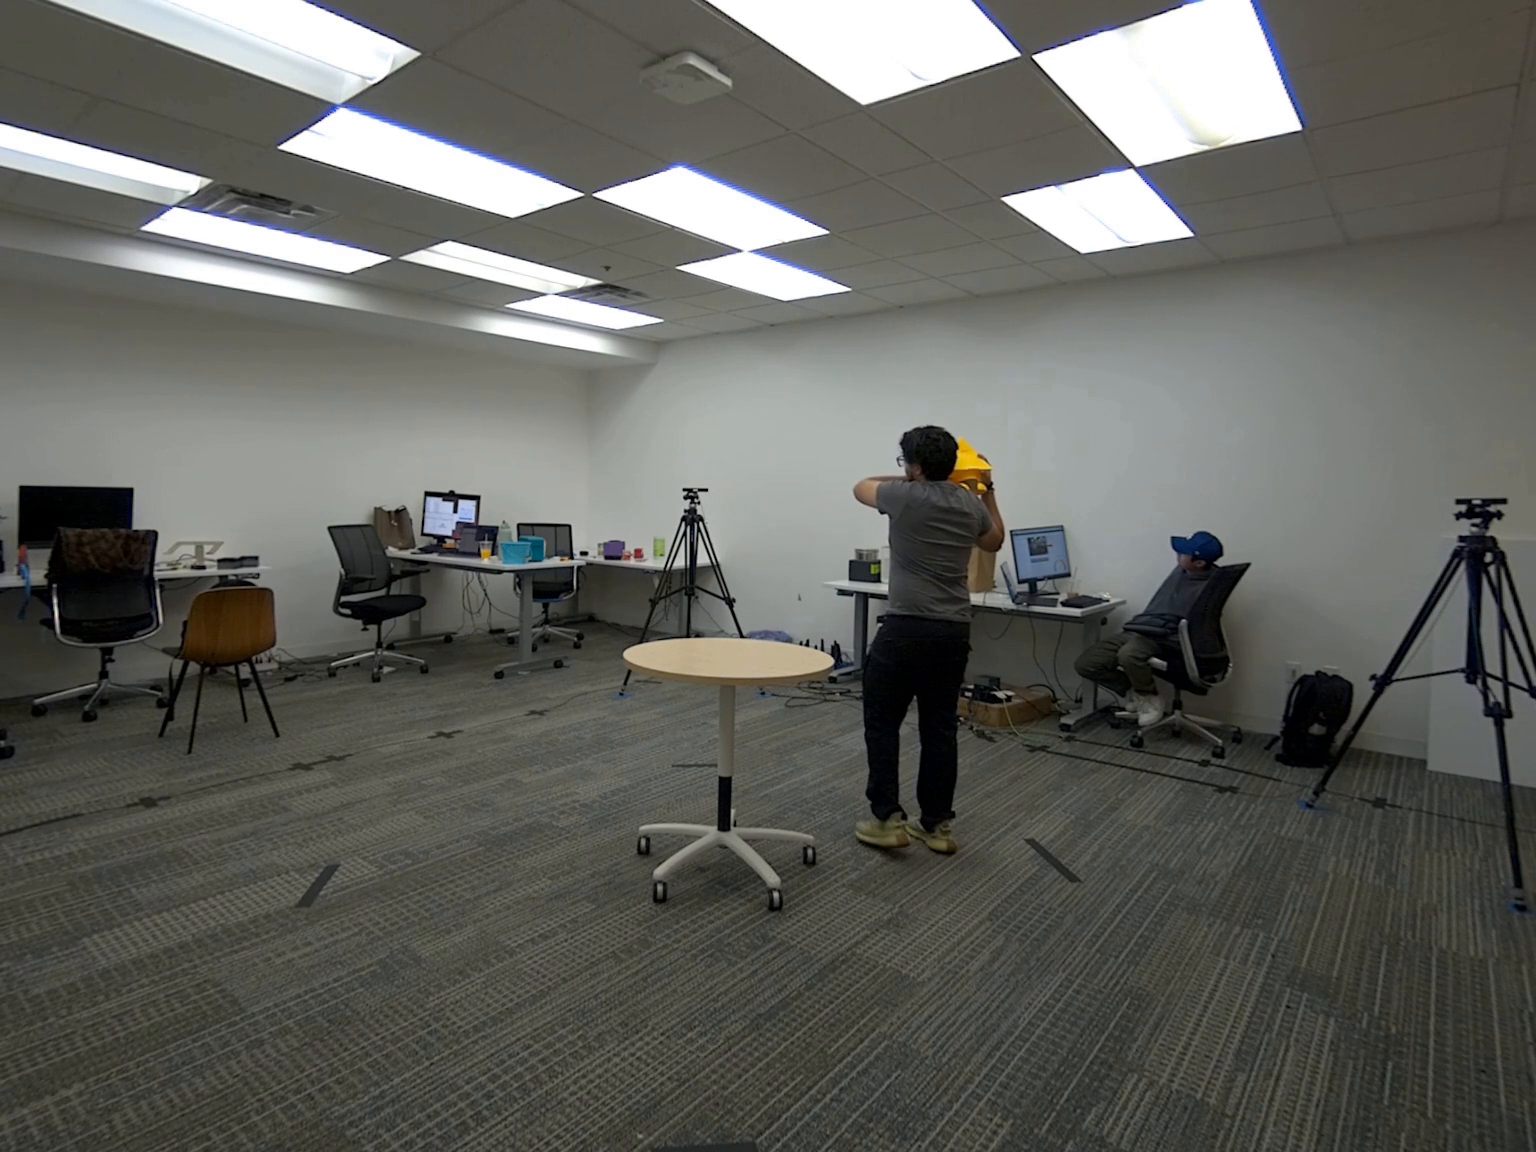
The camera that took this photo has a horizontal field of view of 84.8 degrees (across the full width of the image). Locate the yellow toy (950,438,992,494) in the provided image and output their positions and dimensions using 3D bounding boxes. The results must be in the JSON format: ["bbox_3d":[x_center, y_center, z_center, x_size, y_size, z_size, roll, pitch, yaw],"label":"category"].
[{"bbox_3d":[0.769,-0.448,3.502,0.200,0.234,0.195,-4,-12,-26],"label":"yellow toy"}]
